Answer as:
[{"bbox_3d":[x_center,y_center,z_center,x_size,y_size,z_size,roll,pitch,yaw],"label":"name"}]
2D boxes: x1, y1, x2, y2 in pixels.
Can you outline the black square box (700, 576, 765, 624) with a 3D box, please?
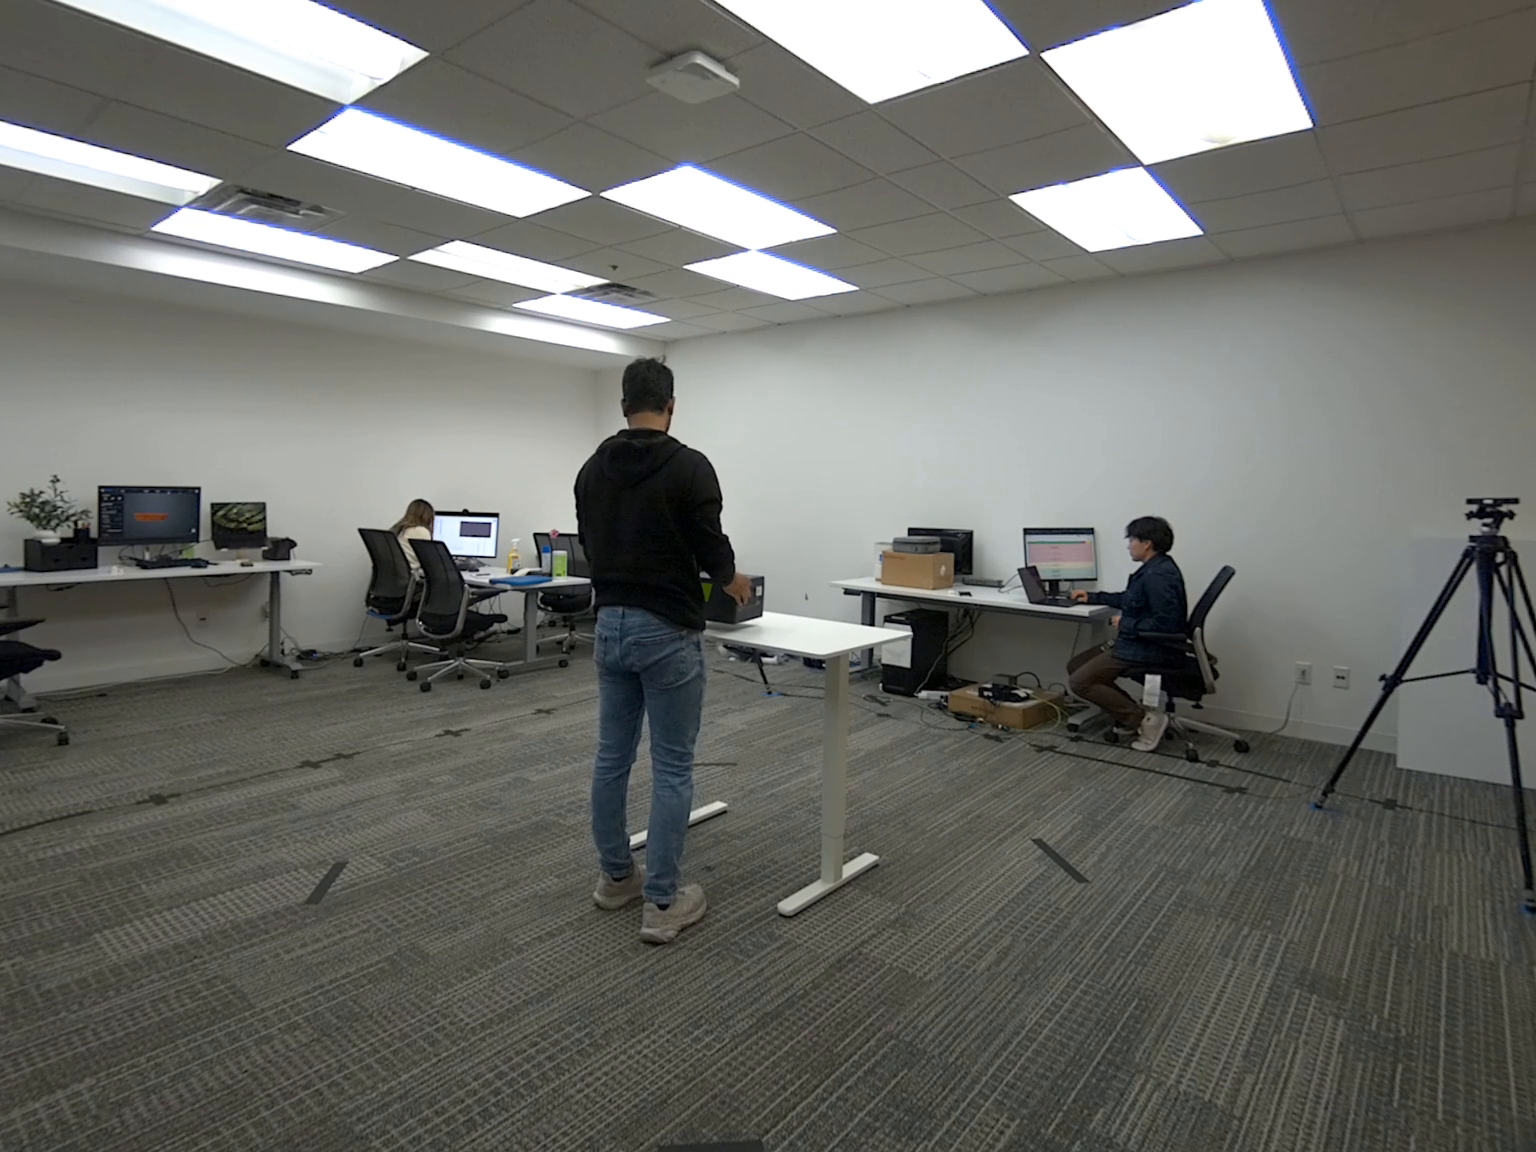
[{"bbox_3d":[-0.185,0.068,3.142,0.234,0.155,0.212,5,7,28],"label":"black square box"}]
